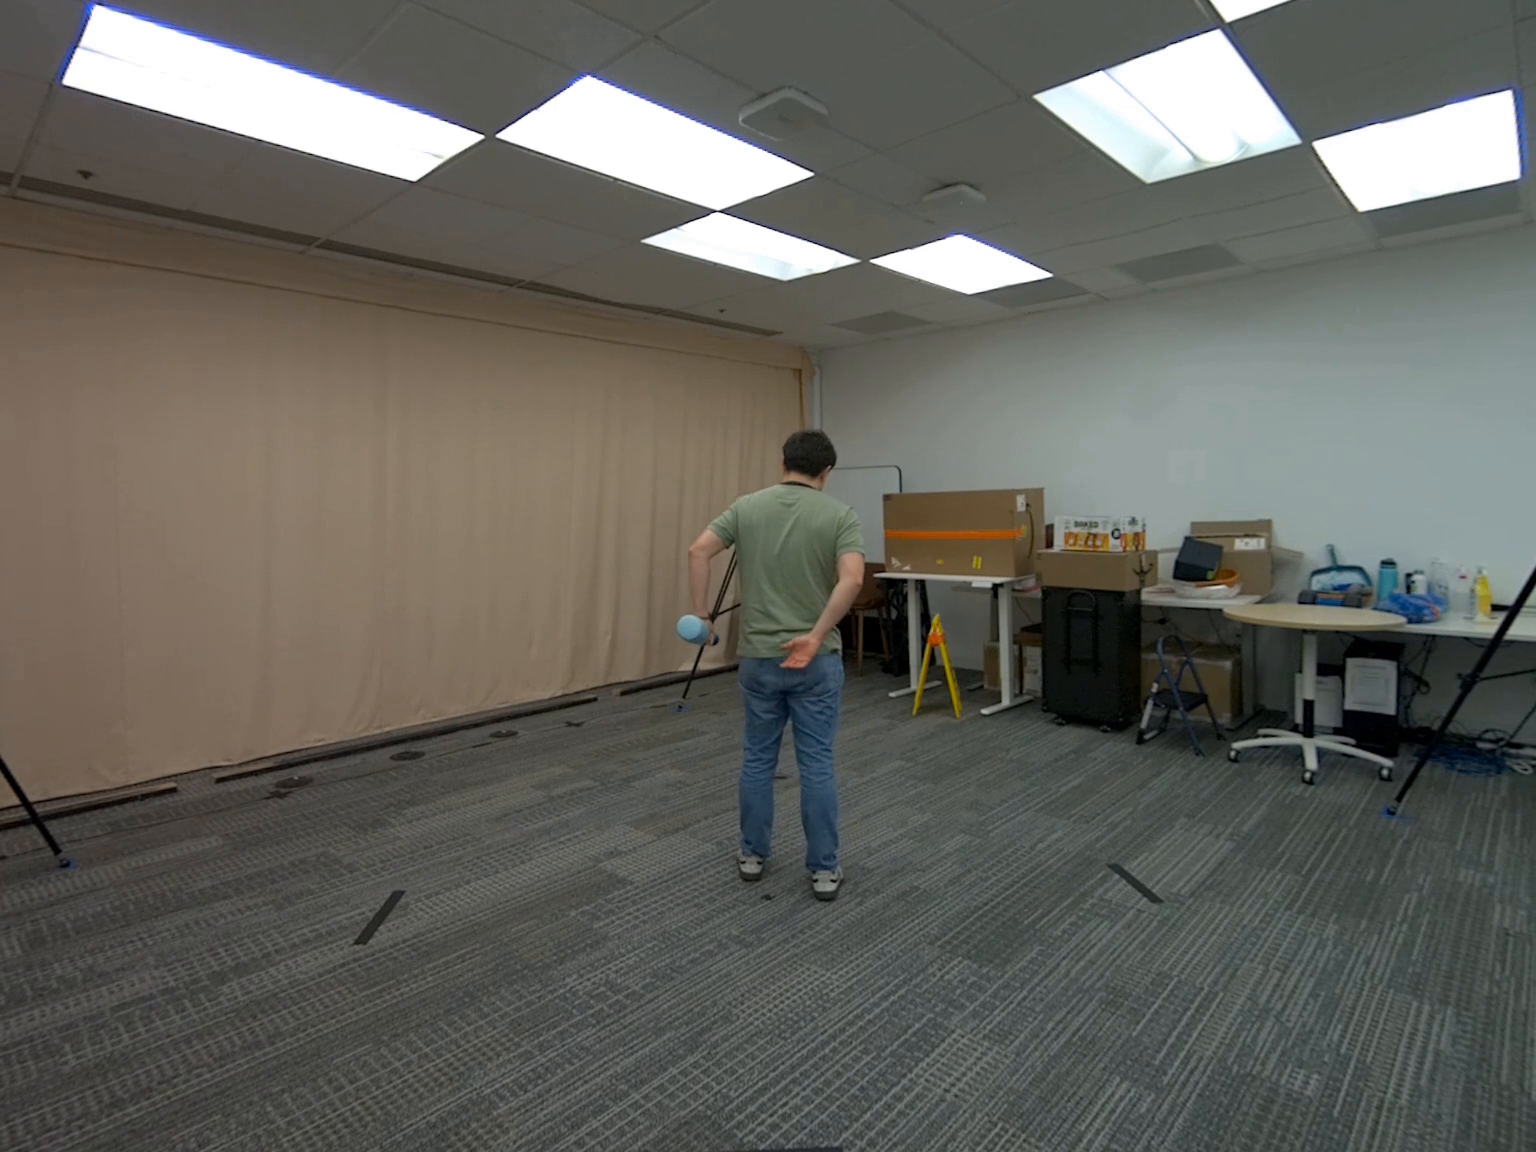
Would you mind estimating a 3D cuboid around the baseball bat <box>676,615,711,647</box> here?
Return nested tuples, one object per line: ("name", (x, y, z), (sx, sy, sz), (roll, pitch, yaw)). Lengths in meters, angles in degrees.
("baseball bat", (-0.223, 0.220, 3.021), (0.090, 0.089, 0.534), (0, -9, 8))
